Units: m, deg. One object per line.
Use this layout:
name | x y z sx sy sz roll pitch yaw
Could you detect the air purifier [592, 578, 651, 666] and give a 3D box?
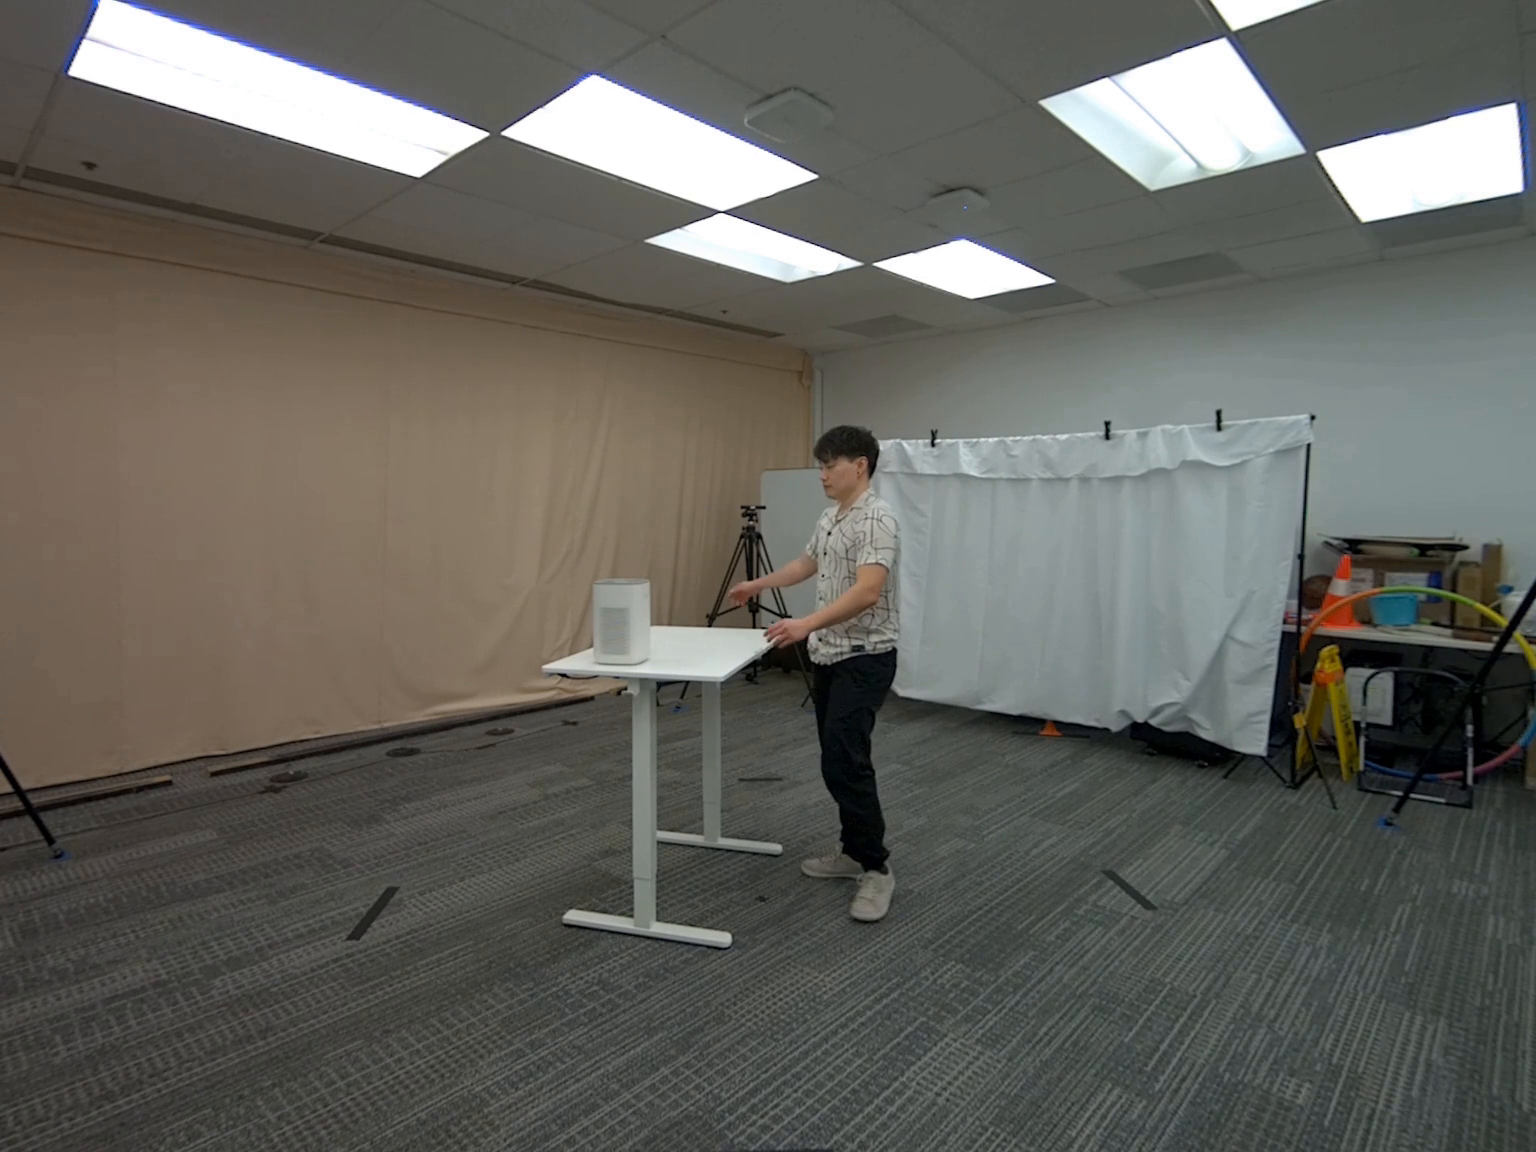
air purifier | -0.461 0.154 2.761 0.173 0.265 0.169 -1 1 8
